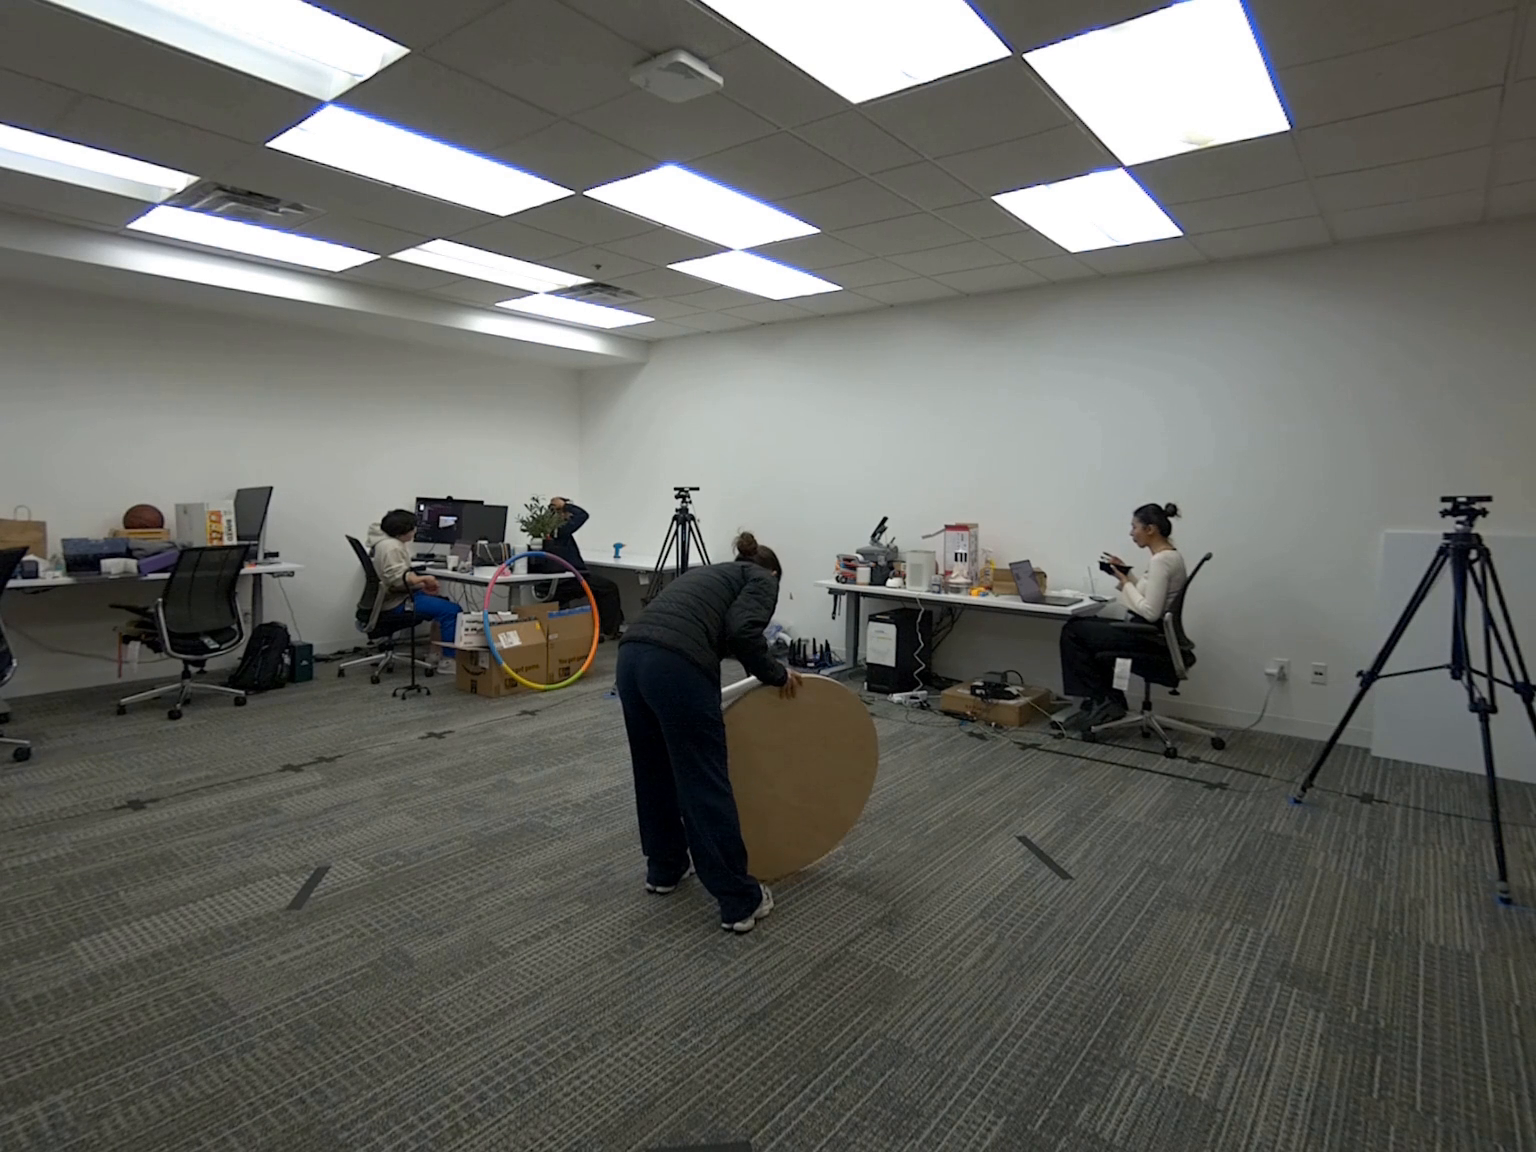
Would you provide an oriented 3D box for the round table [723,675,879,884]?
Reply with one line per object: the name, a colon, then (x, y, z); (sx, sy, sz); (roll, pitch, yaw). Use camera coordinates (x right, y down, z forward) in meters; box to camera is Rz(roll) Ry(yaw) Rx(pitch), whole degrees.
round table: (-0.109, 0.599, 3.320); (0.766, 0.776, 0.815); (-1, 15, -26)
